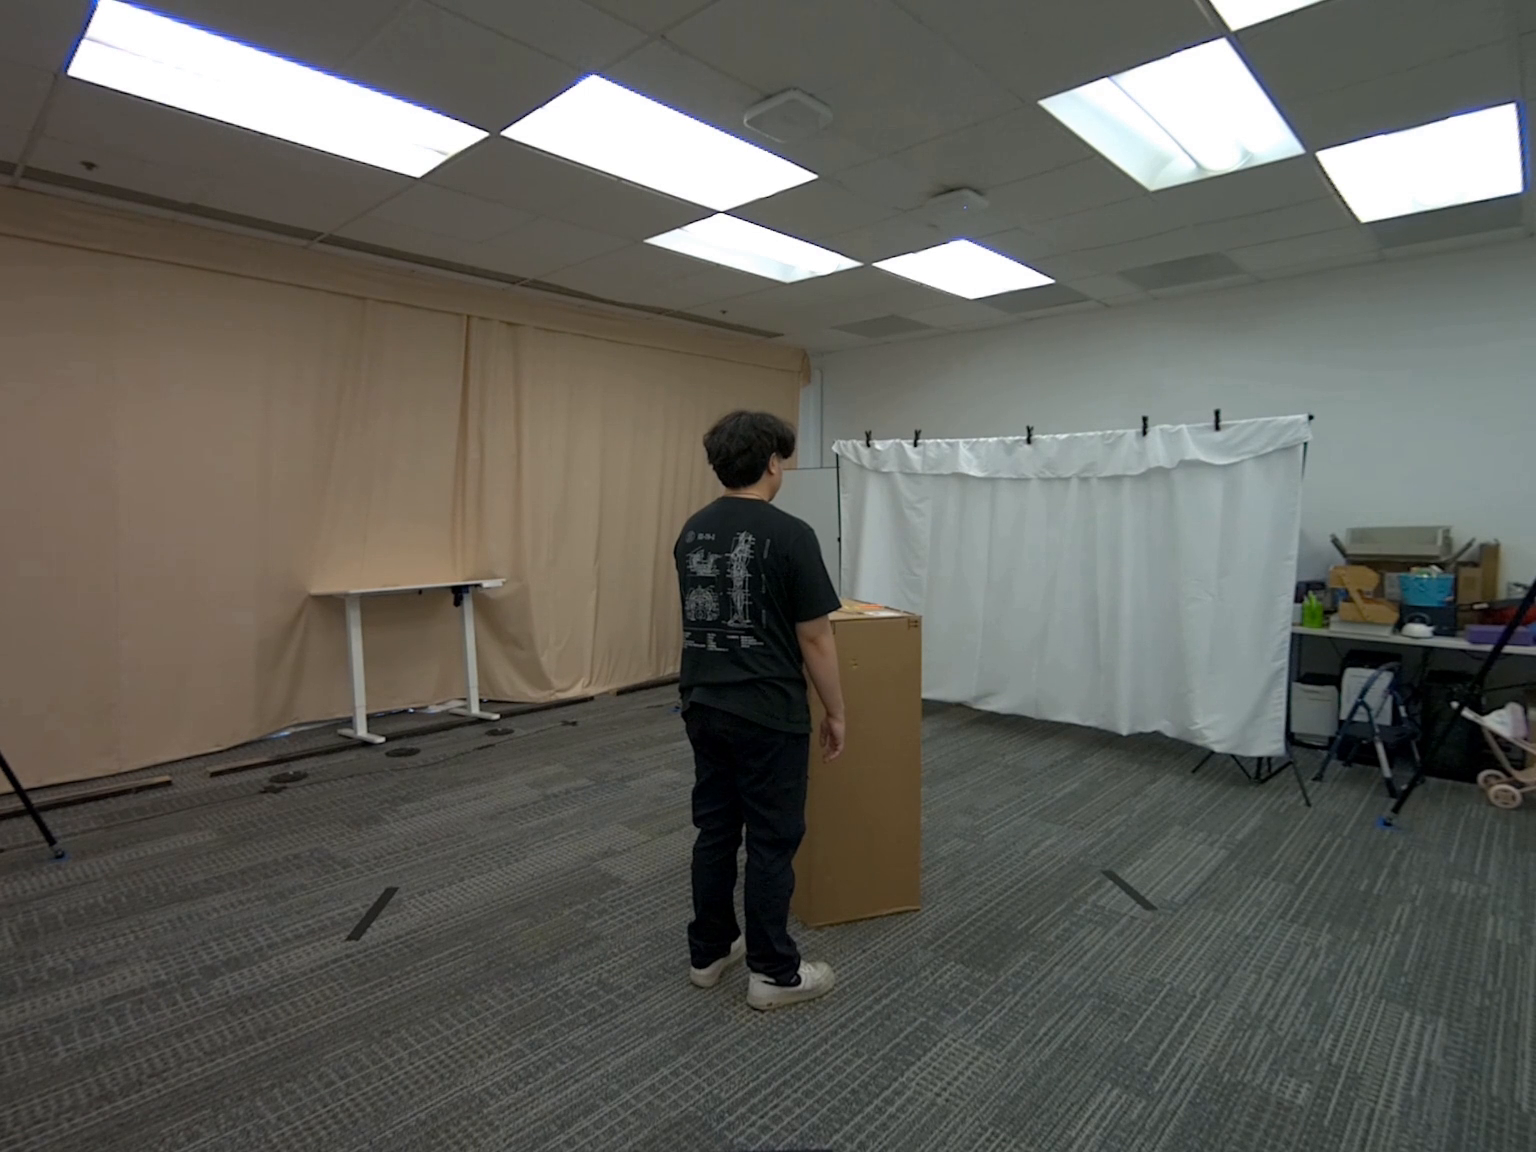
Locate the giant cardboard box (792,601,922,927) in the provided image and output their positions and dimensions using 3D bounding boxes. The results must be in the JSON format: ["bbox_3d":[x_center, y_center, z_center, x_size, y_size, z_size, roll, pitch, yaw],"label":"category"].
[{"bbox_3d":[0.229,0.623,3.079,0.438,1.025,0.597,-1,3,-21],"label":"giant cardboard box"}]
